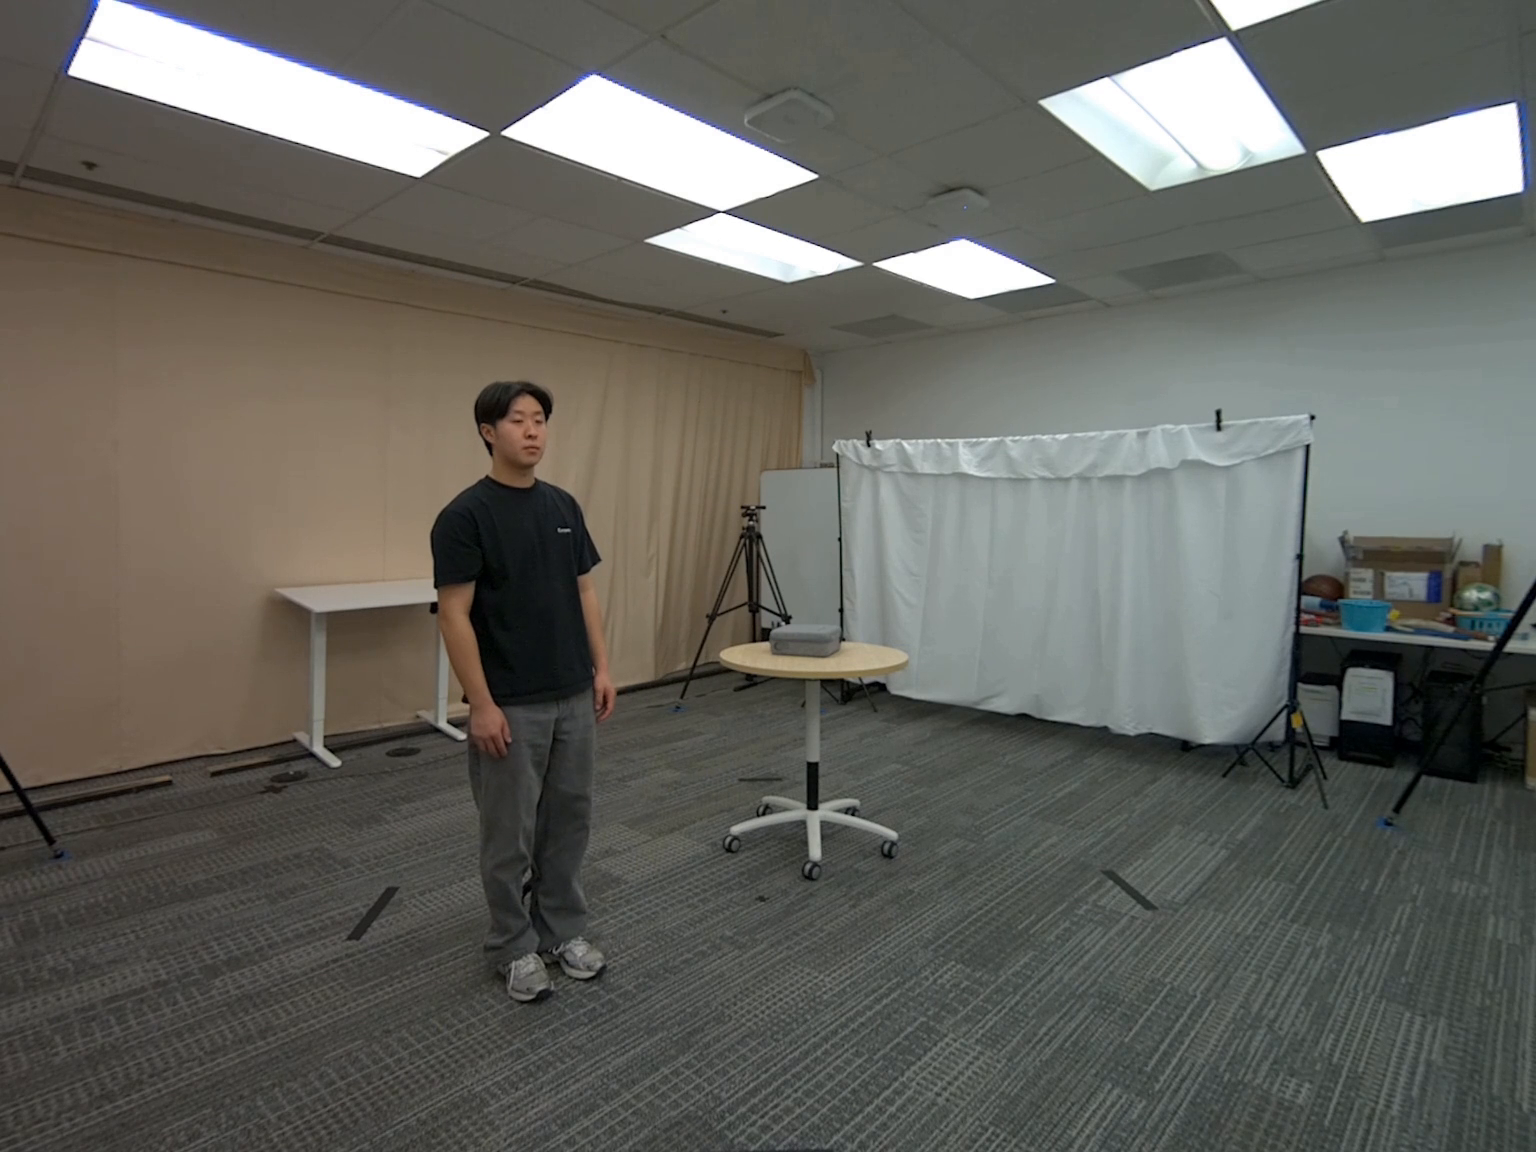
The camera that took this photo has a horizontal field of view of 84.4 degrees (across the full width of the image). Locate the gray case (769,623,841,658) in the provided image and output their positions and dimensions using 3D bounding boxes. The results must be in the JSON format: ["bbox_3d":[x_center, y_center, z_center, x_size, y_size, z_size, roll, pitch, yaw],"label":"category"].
[{"bbox_3d":[0.151,0.268,3.507,0.294,0.103,0.258,0,4,21],"label":"gray case"}]
